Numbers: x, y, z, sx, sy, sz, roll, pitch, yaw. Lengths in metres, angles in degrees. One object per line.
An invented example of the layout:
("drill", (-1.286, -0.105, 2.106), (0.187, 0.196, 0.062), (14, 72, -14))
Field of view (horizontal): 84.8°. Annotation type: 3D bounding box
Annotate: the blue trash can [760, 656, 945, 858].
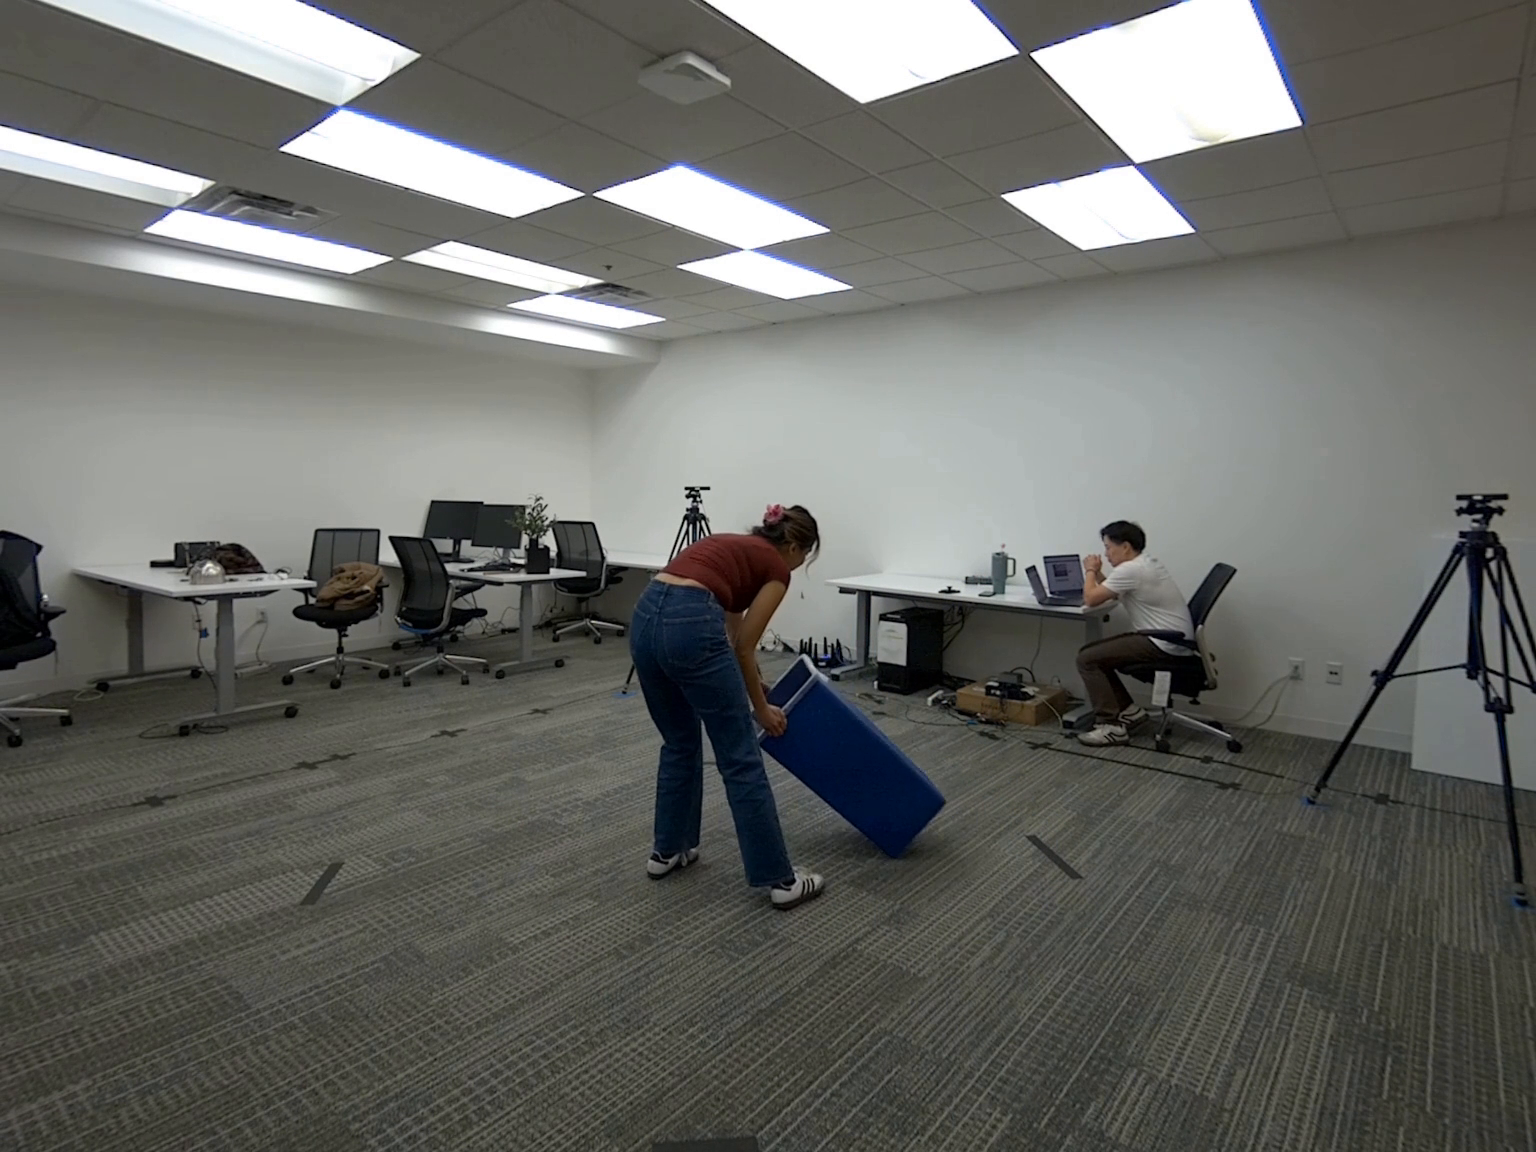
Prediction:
("blue trash can", (0.289, 0.709, 3.326), (0.710, 0.374, 0.380), (43, 0, -4))
